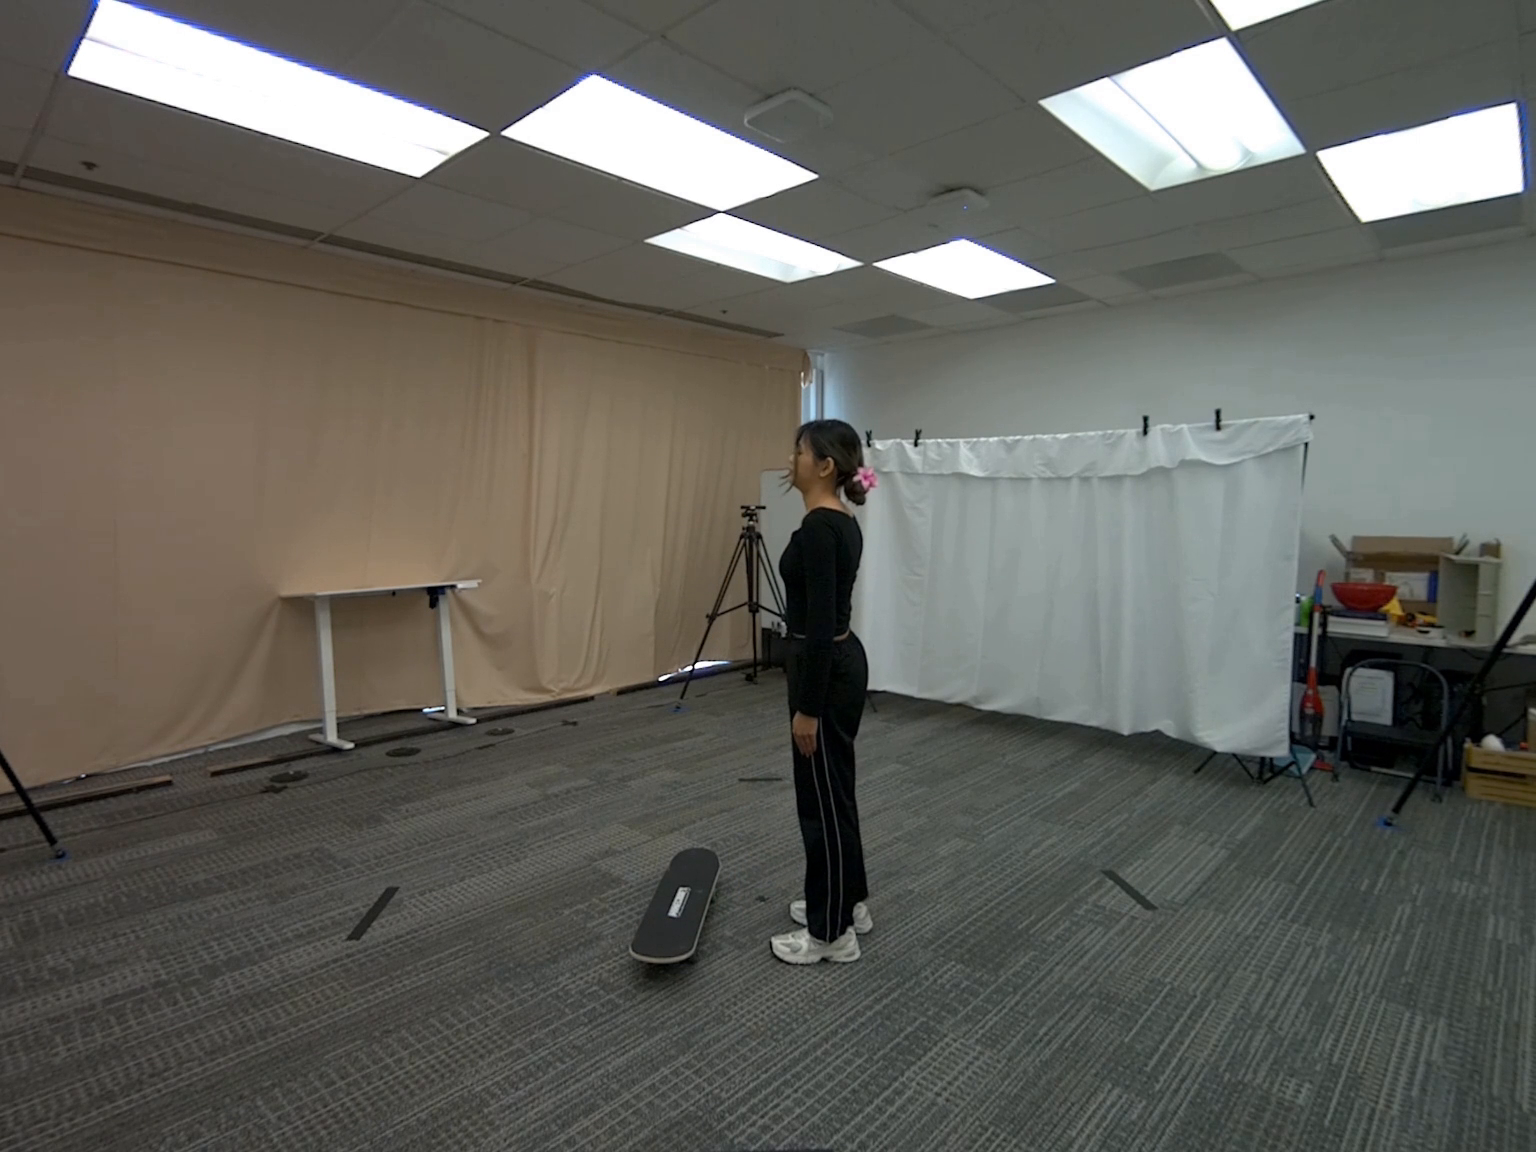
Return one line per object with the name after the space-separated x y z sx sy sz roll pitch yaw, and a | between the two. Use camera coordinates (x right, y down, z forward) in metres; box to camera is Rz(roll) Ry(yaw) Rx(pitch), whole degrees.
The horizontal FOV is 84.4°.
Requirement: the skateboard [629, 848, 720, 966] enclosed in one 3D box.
-0.291 1.102 2.784 0.195 0.110 0.781 0 5 6 | skateboard
